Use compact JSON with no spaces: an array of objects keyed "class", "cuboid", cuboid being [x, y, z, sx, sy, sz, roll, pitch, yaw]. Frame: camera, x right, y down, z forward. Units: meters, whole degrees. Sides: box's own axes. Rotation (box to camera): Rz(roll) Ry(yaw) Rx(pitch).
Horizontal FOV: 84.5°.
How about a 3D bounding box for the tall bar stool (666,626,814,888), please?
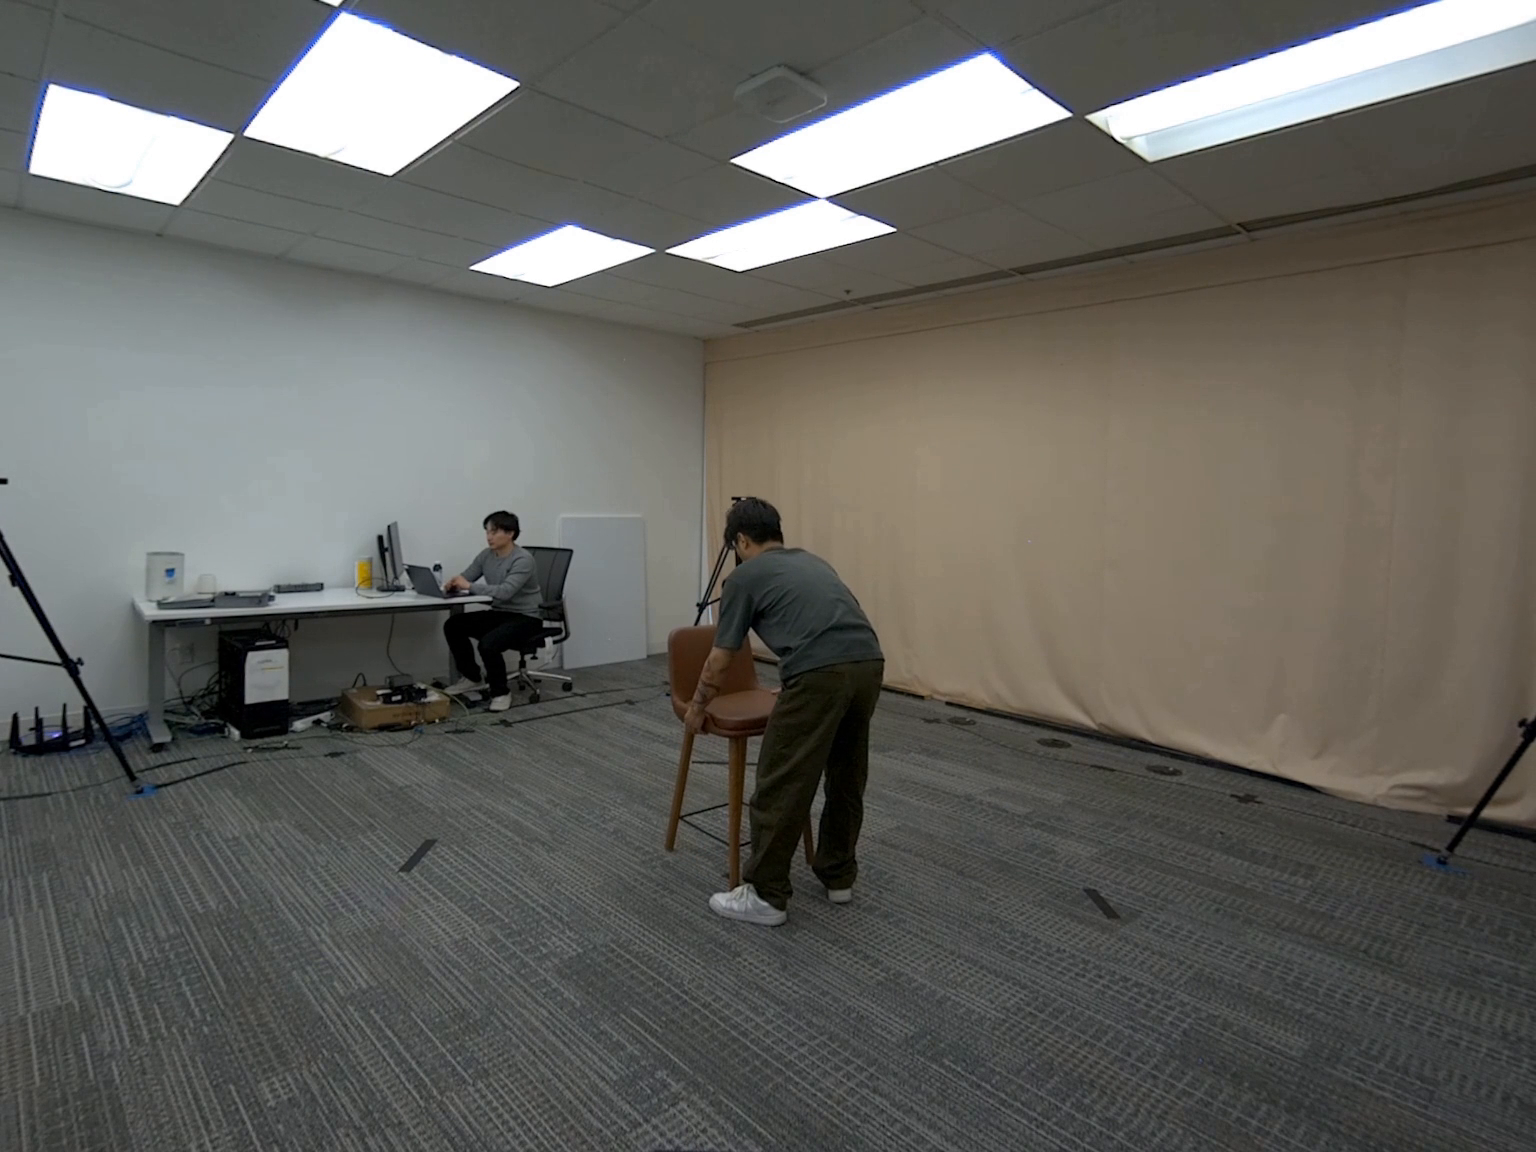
[{"class":"tall bar stool","cuboid":[-0.121,0.658,3.247,0.446,0.889,0.479,-1,2,-40]}]
